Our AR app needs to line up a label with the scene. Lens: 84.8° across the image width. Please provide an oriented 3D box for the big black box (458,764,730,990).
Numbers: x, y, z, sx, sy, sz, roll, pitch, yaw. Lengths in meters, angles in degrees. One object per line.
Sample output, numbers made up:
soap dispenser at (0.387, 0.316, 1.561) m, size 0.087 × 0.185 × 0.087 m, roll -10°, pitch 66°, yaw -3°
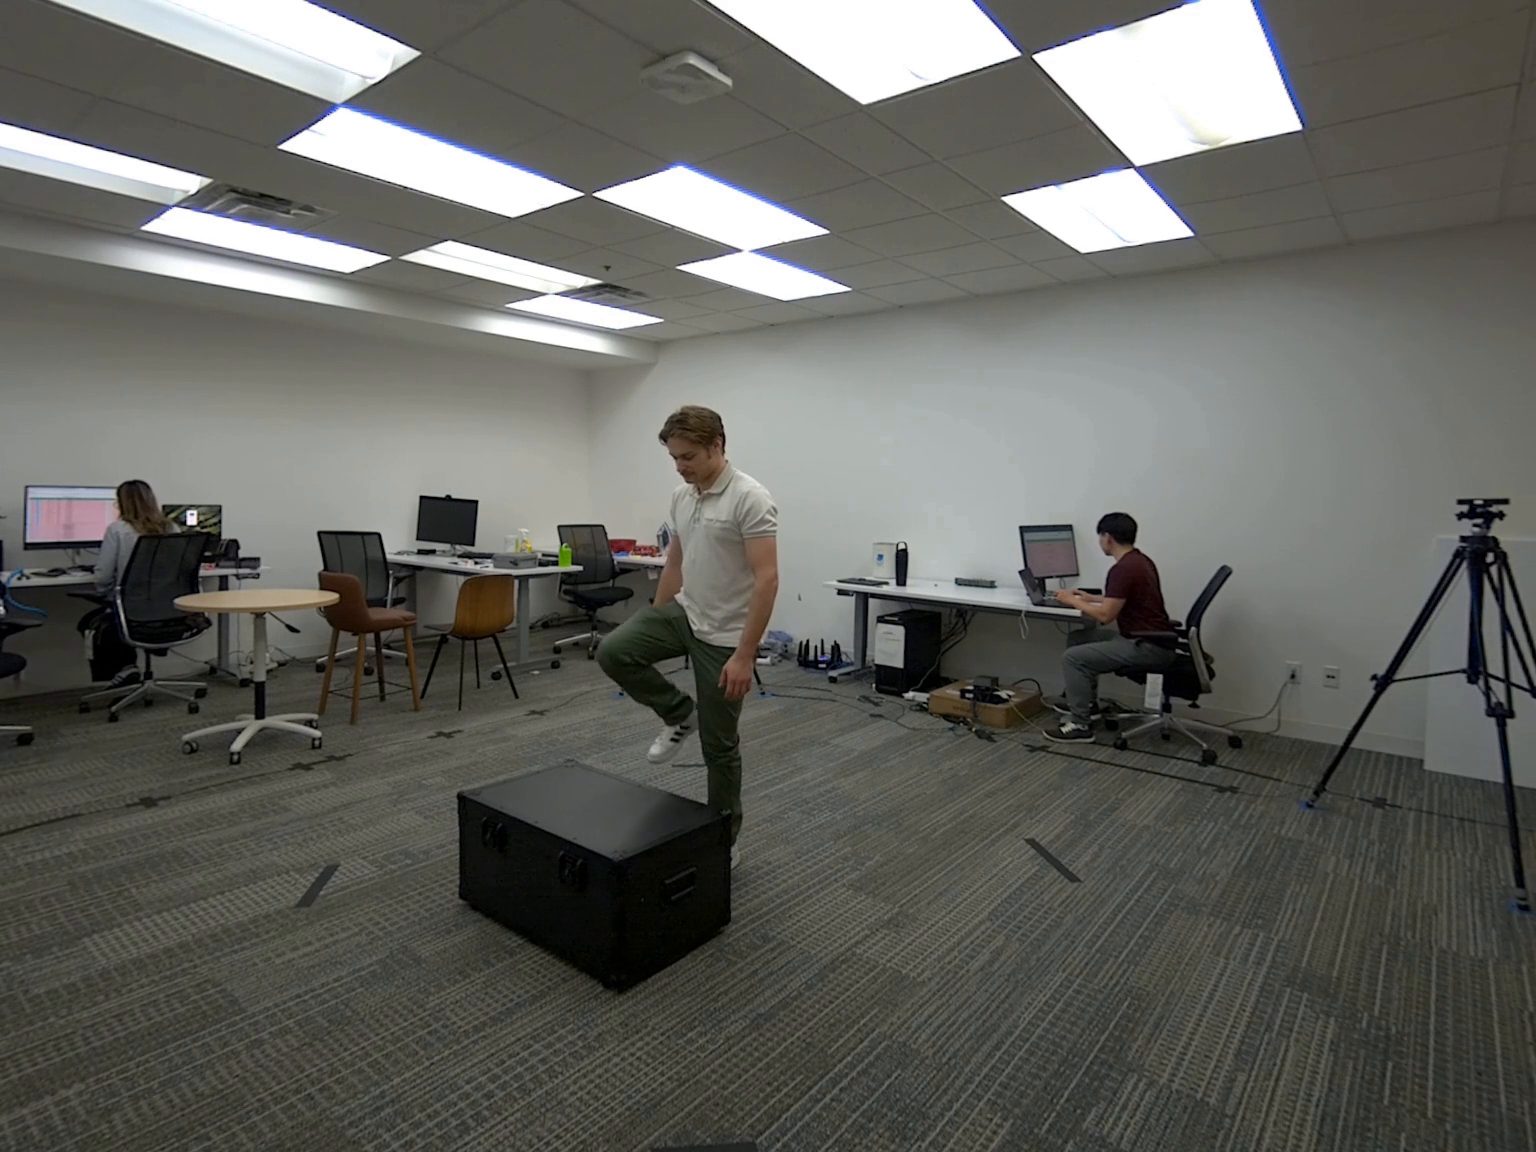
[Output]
big black box at (-0.603, 0.903, 2.762) m, size 0.897 × 0.383 × 0.509 m, roll 5°, pitch 7°, yaw 39°
